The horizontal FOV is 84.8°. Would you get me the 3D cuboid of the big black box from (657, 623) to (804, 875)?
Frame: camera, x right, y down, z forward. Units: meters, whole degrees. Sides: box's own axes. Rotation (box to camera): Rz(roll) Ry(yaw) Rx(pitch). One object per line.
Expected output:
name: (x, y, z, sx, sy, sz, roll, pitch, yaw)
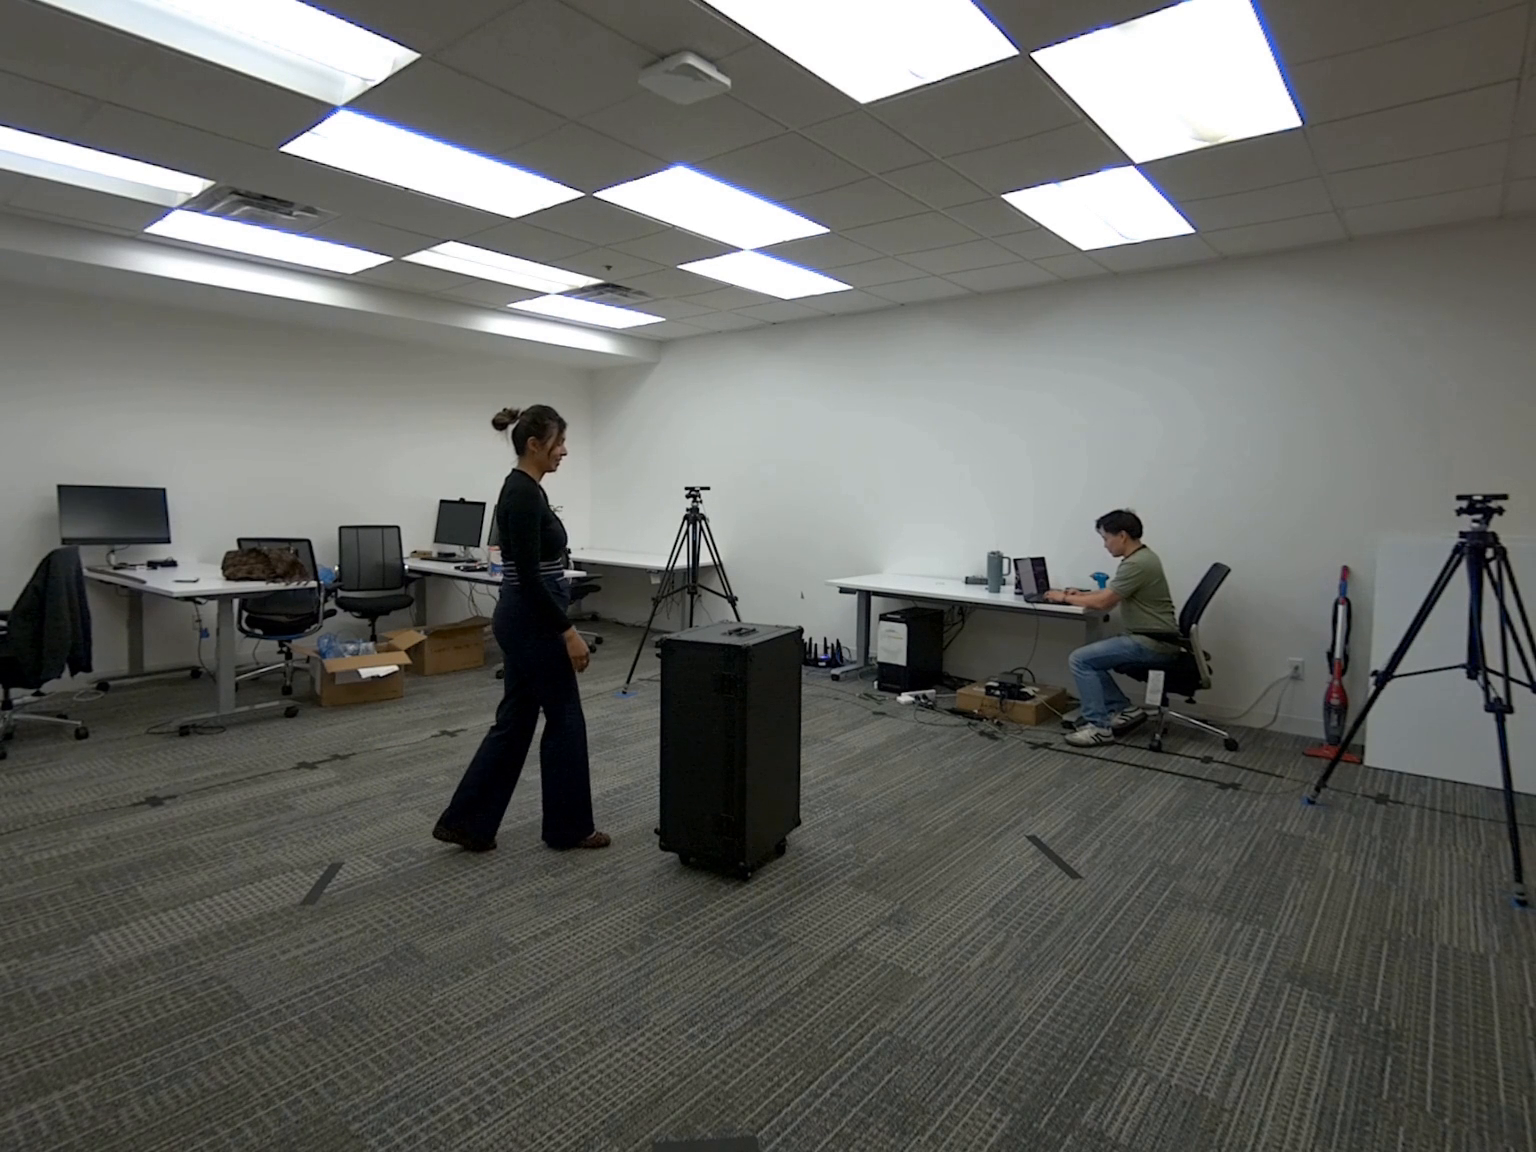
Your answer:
big black box: (-0.152, 0.635, 3.203, 0.407, 0.860, 0.508, 0, 2, 27)
